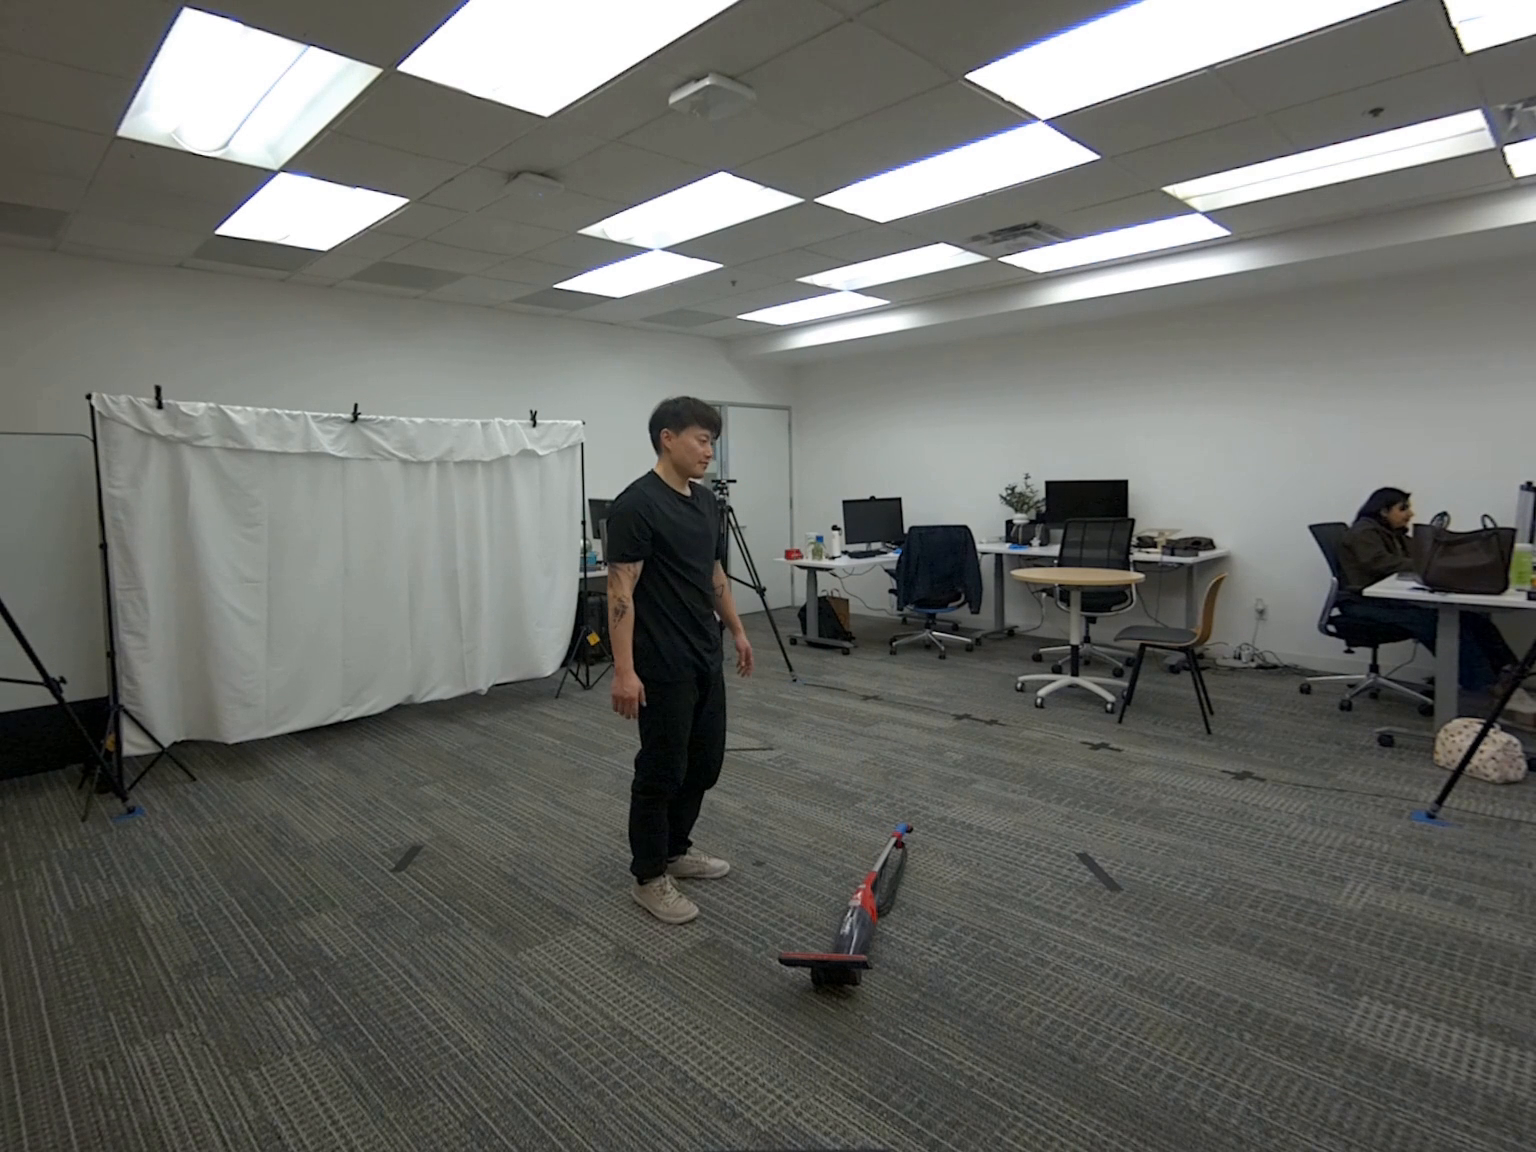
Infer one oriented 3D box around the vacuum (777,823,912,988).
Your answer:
[{"bbox_3d":[0.356,1.025,2.785,0.257,0.144,1.031,-10,1,22],"label":"vacuum"}]
